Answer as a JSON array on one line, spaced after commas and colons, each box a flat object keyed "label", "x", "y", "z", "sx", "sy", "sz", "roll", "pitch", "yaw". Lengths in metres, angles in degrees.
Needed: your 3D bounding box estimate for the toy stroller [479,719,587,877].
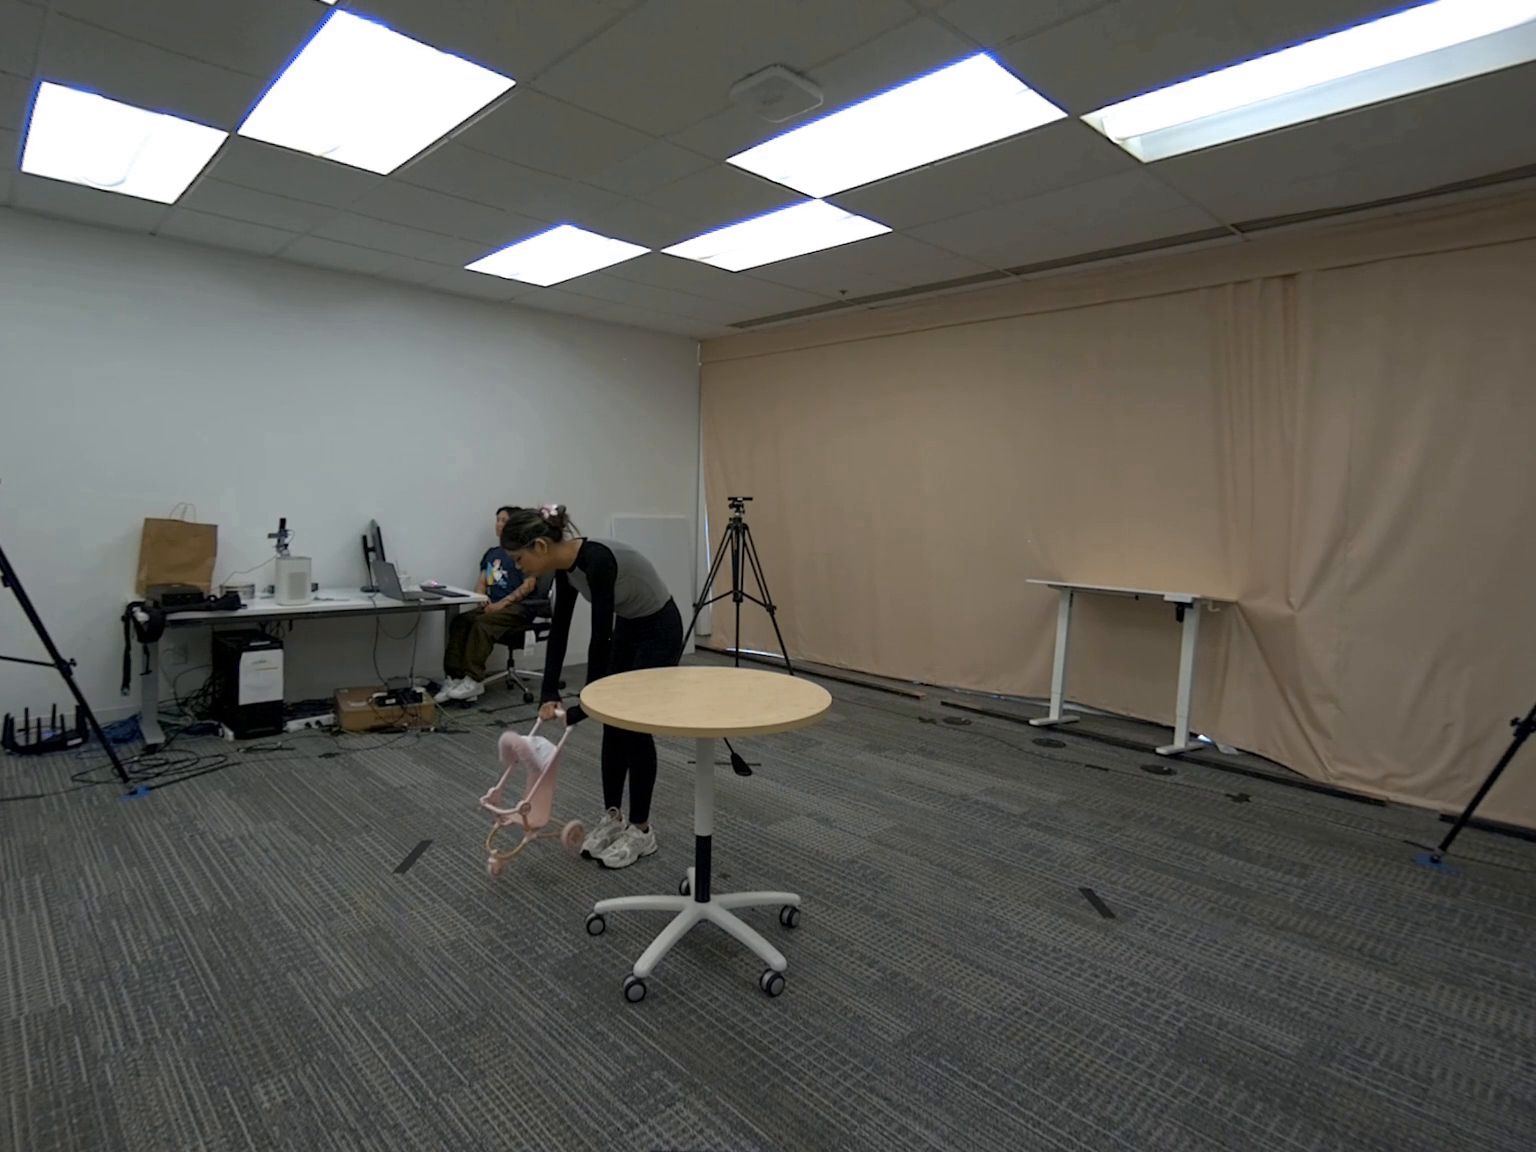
[{"label": "toy stroller", "x": -0.876, "y": 0.782, "z": 3.017, "sx": 0.334, "sy": 0.533, "sz": 0.289, "roll": -6, "pitch": 8, "yaw": -43}]
